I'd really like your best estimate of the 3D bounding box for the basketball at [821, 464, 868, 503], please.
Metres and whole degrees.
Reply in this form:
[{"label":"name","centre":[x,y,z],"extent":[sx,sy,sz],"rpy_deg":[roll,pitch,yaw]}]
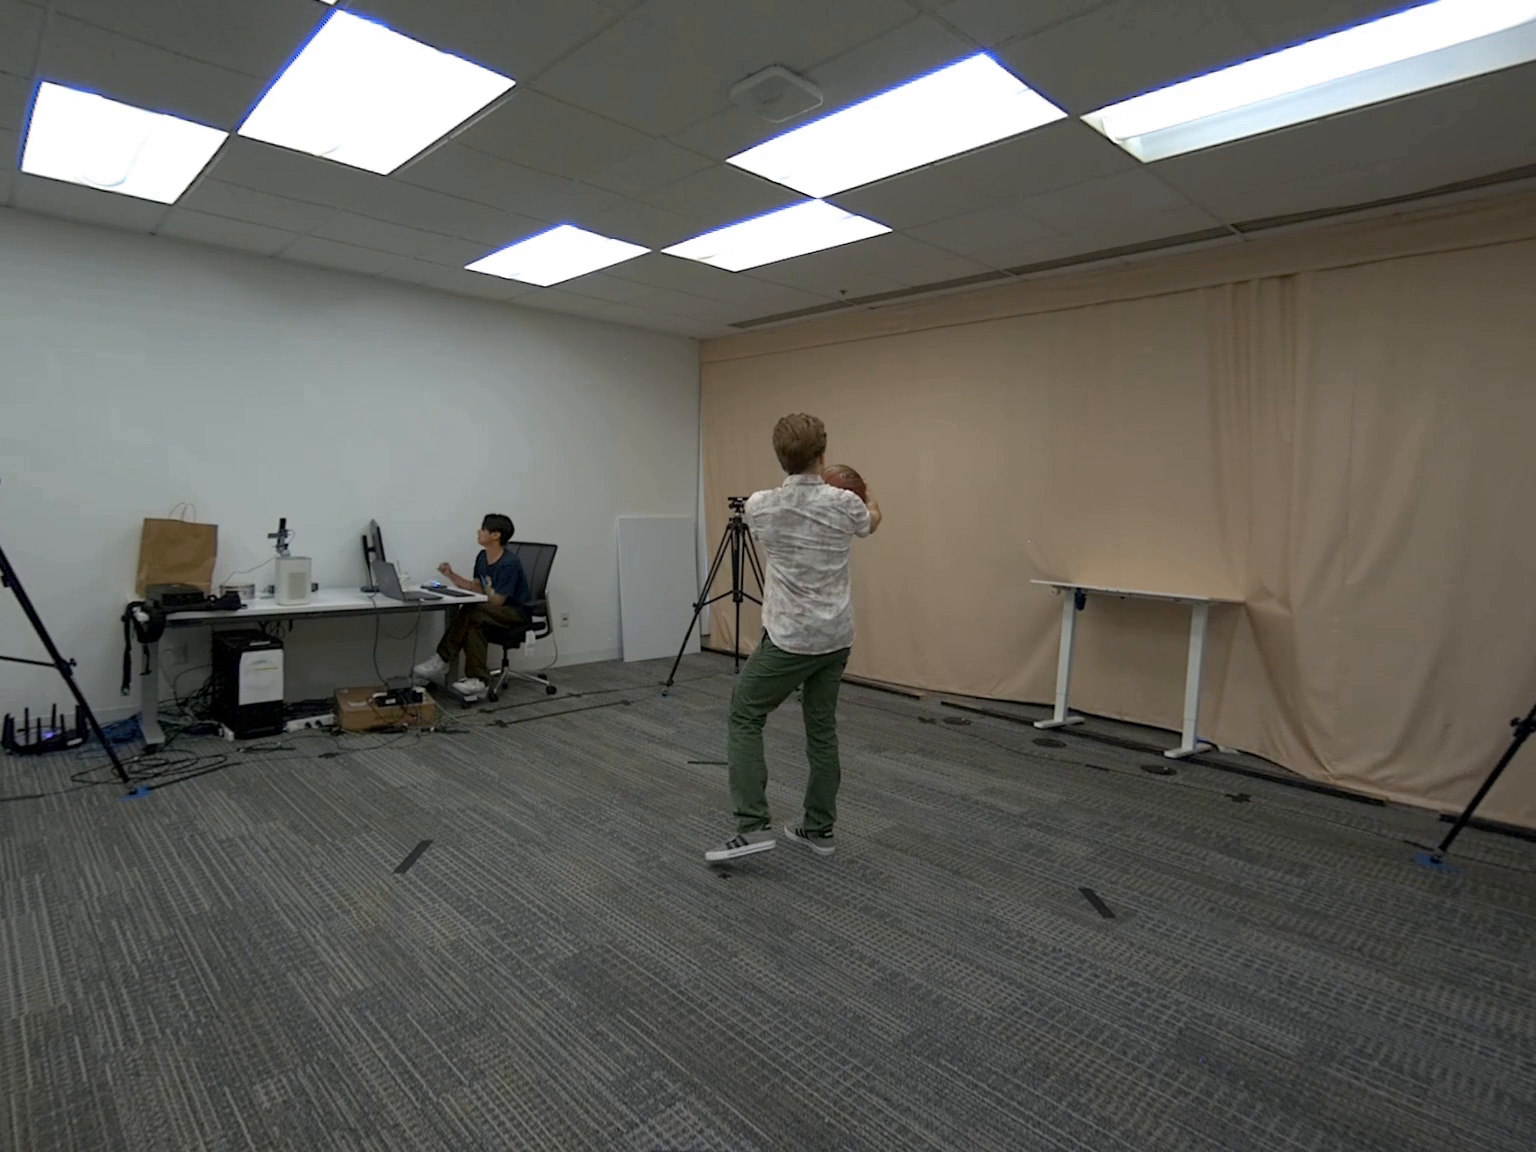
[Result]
[{"label":"basketball","centre":[0.305,-0.379,3.764],"extent":[0.236,0.235,0.237],"rpy_deg":[1,4,-1]}]
